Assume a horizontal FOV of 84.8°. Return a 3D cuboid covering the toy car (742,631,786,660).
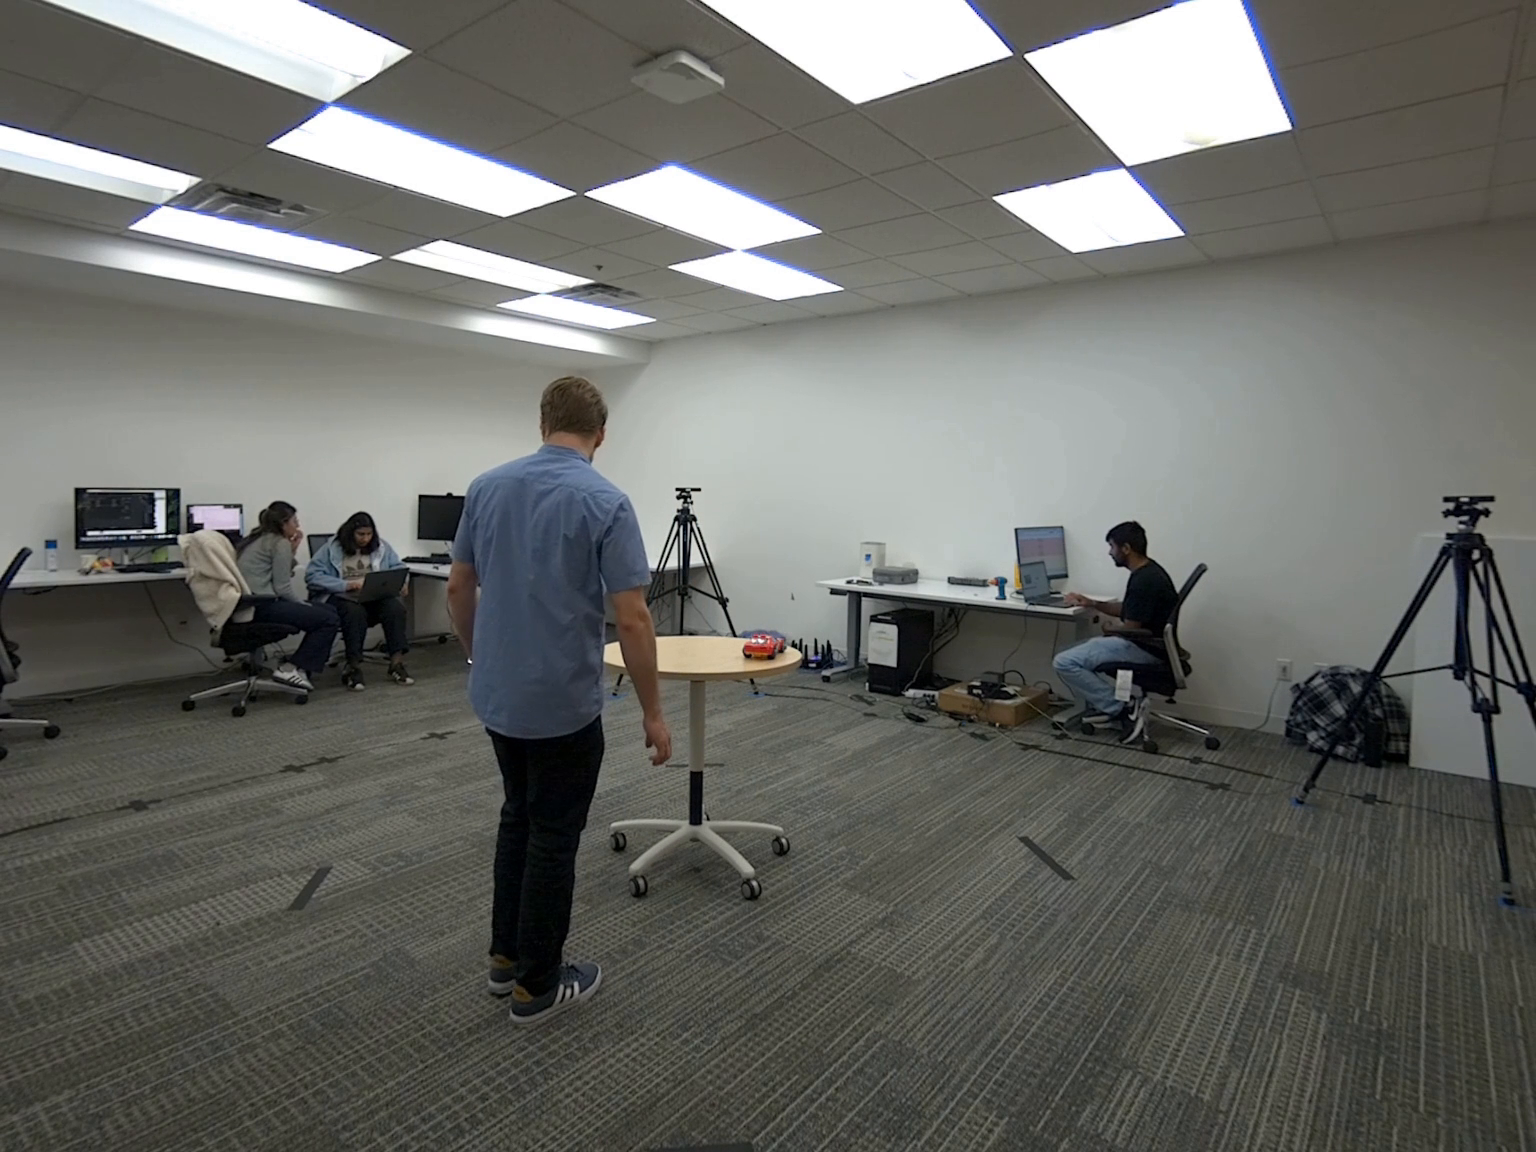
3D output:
[{"bbox_3d":[-0.031,0.257,3.097,0.132,0.084,0.248,2,-6,15],"label":"toy car"}]
